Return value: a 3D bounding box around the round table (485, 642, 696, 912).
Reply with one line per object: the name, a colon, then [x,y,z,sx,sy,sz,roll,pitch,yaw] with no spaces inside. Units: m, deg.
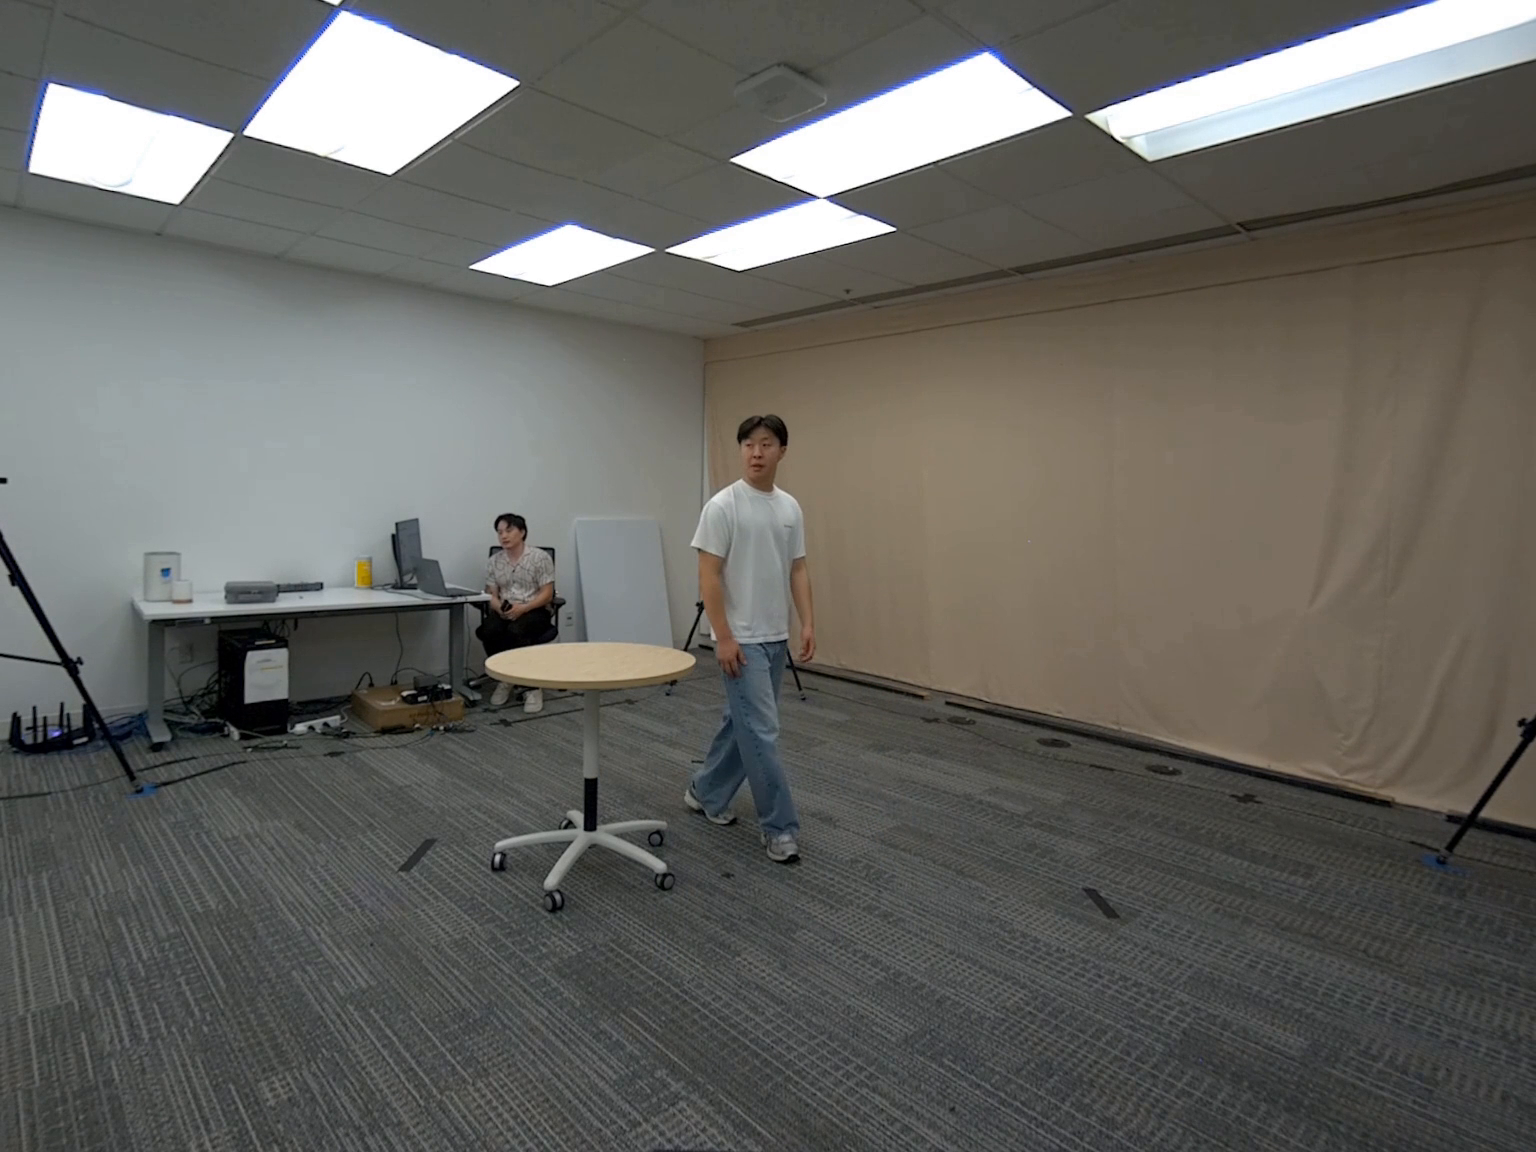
round table: [-0.667,0.699,3.143,0.784,0.784,0.788,1,4,-1]
